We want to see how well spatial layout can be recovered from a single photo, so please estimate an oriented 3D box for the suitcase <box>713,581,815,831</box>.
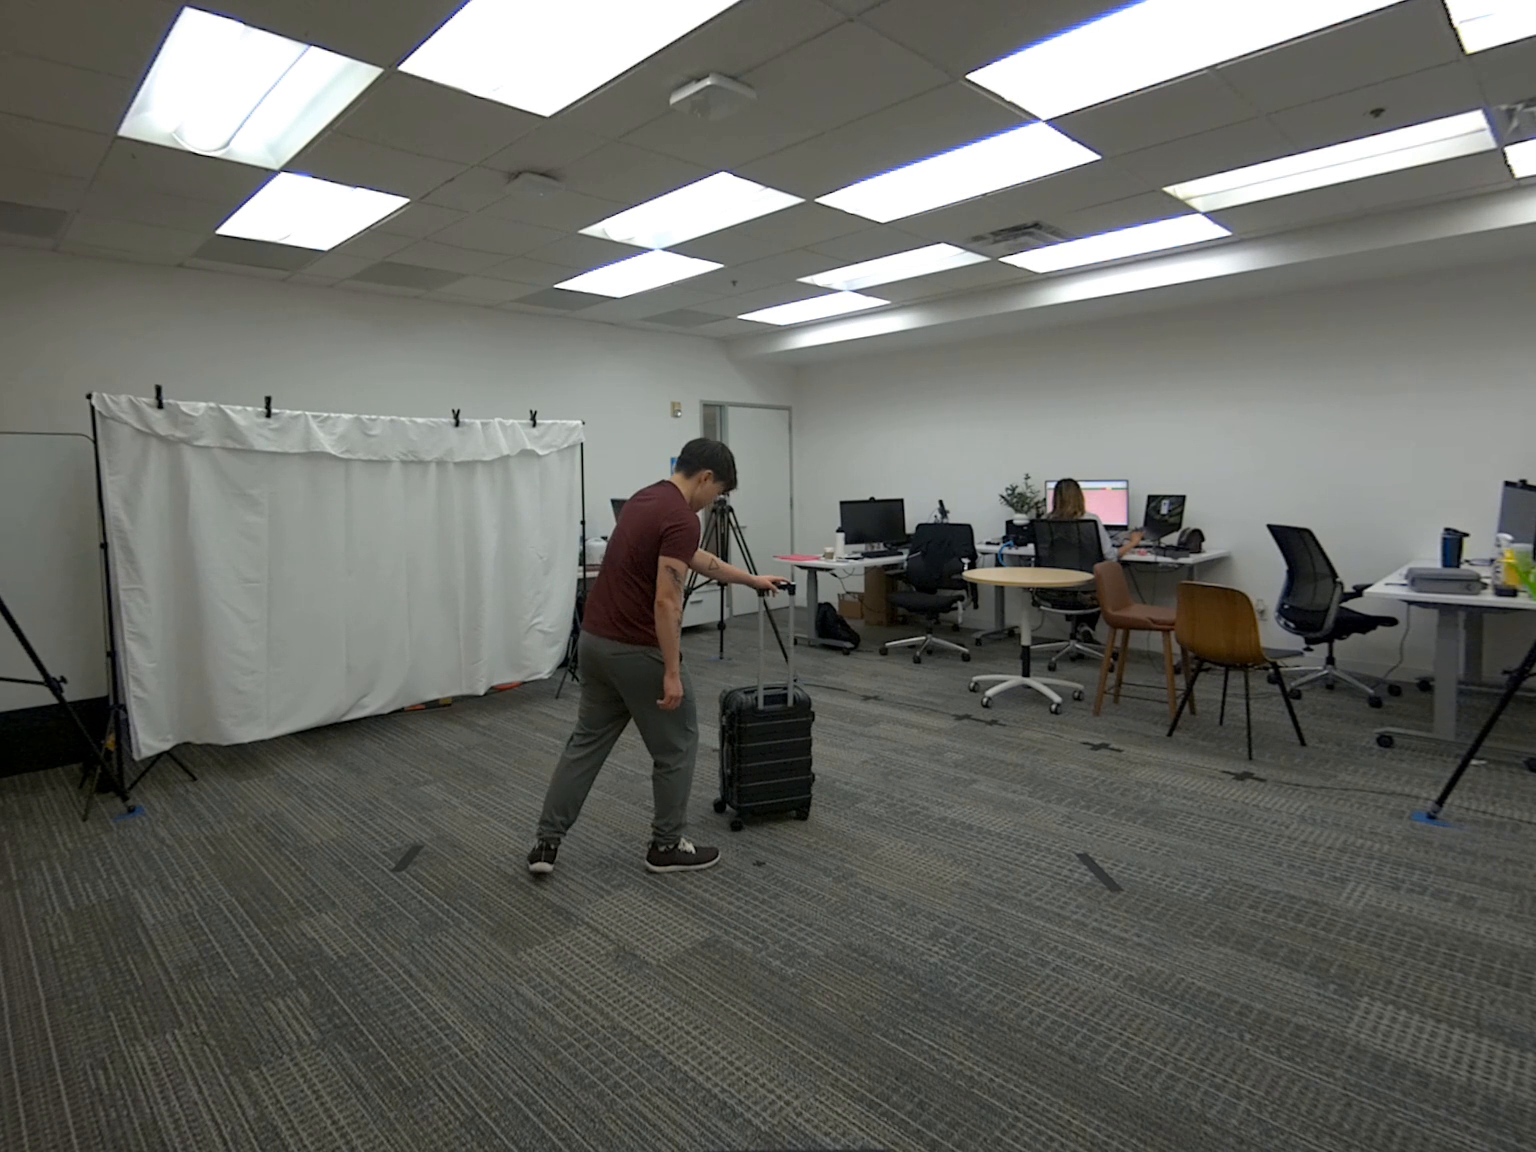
[{"bbox_3d":[-0.015,0.521,3.539,0.377,0.977,0.262,0,2,-19],"label":"suitcase"}]
